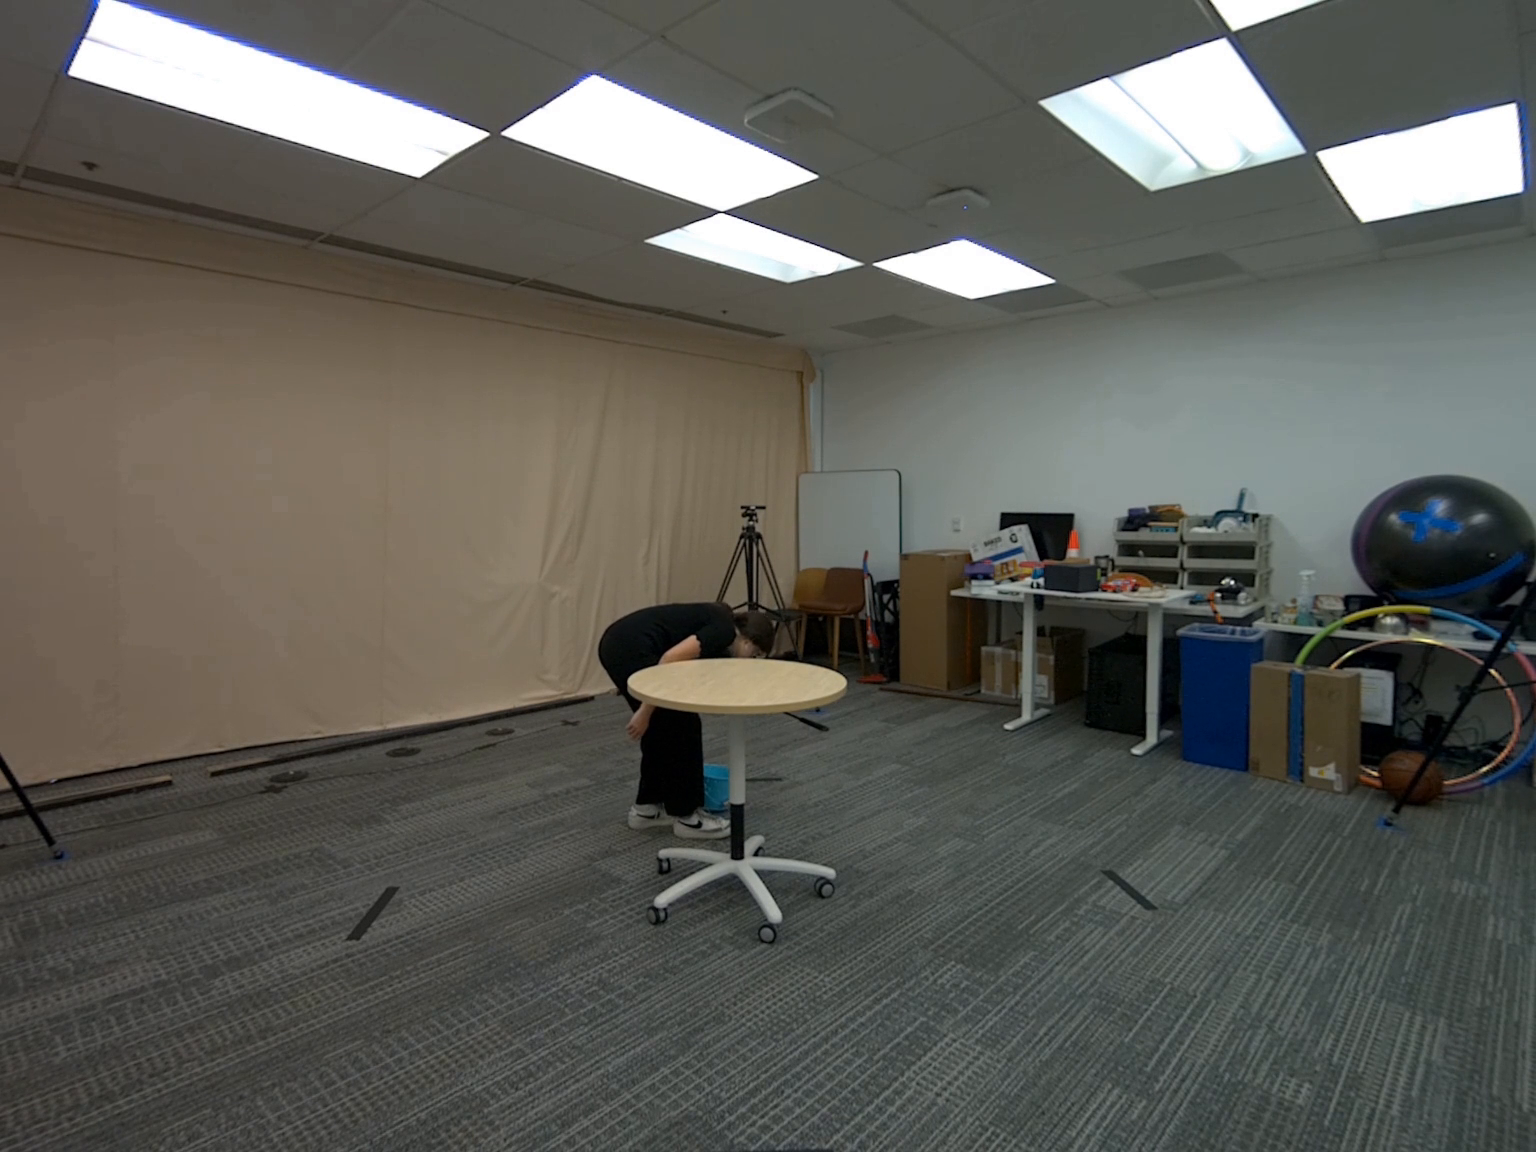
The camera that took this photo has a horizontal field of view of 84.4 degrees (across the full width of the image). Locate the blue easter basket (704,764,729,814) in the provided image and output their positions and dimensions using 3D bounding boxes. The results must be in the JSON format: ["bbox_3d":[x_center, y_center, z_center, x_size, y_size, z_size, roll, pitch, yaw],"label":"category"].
[{"bbox_3d":[-0.258,0.968,3.898,0.243,0.156,0.244,5,1,-2],"label":"blue easter basket"}]
